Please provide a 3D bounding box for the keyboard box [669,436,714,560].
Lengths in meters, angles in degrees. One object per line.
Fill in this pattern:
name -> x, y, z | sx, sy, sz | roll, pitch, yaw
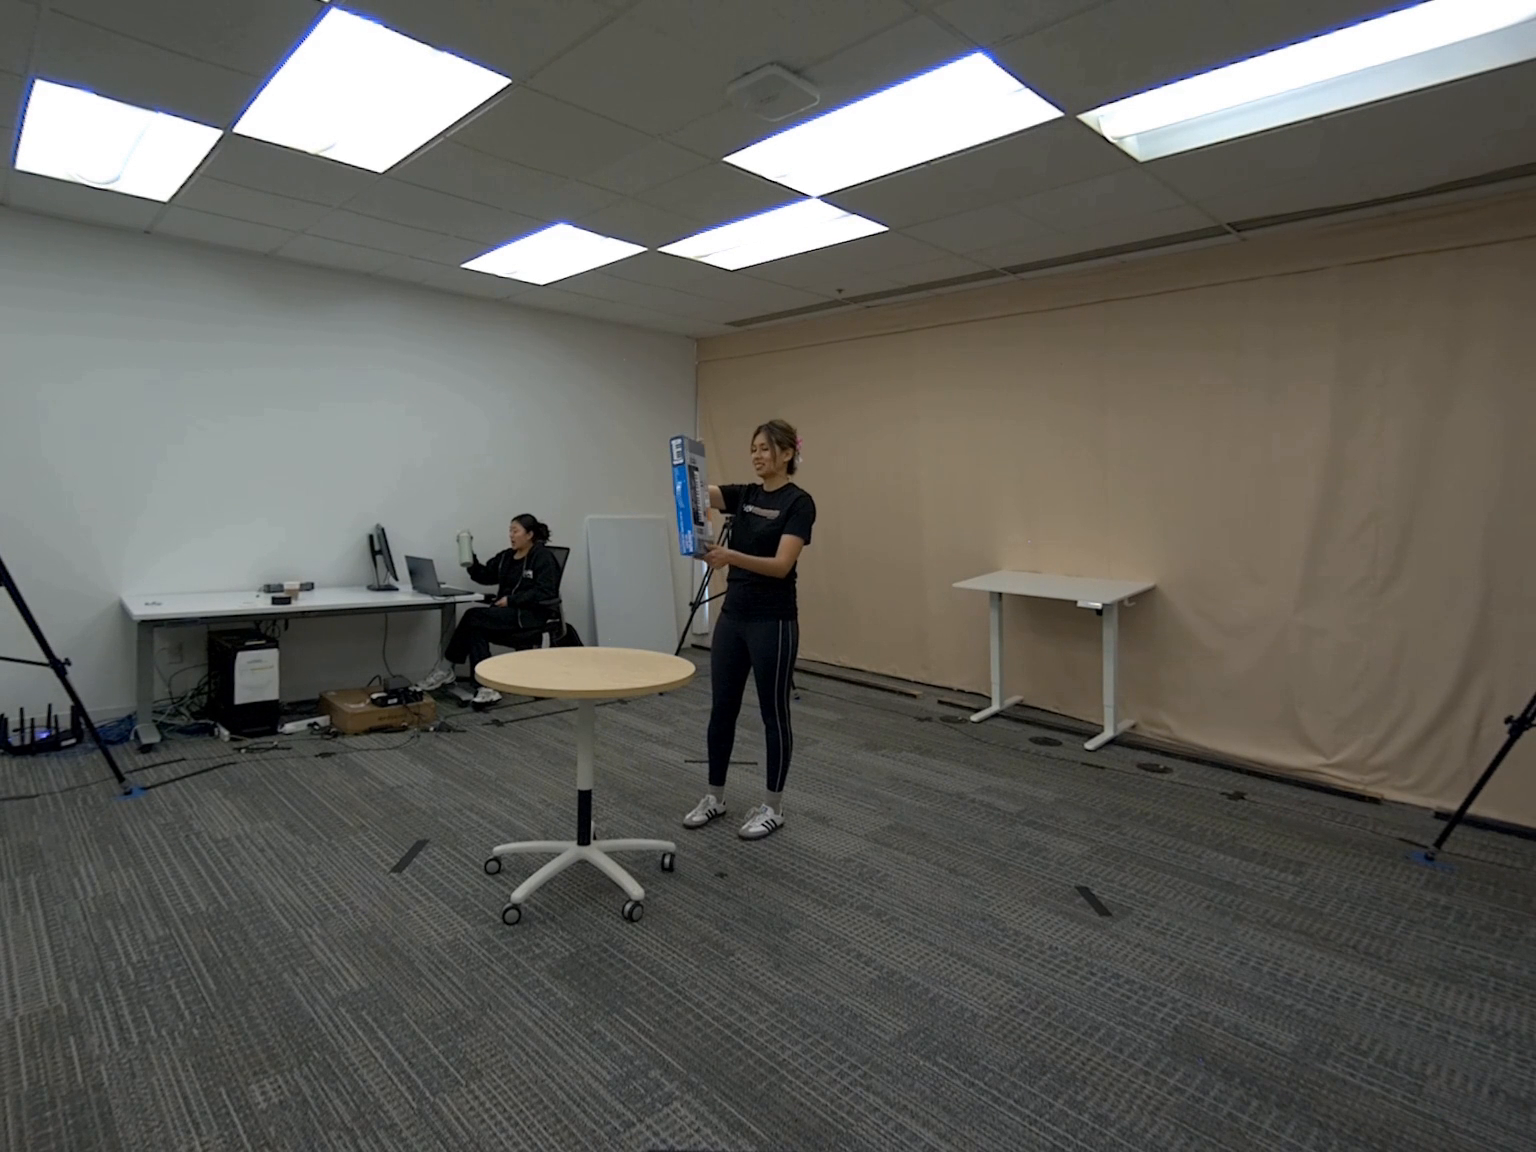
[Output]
keyboard box -> -0.289, -0.293, 3.145 | 0.060, 0.439, 0.172 | -8, -7, 21
